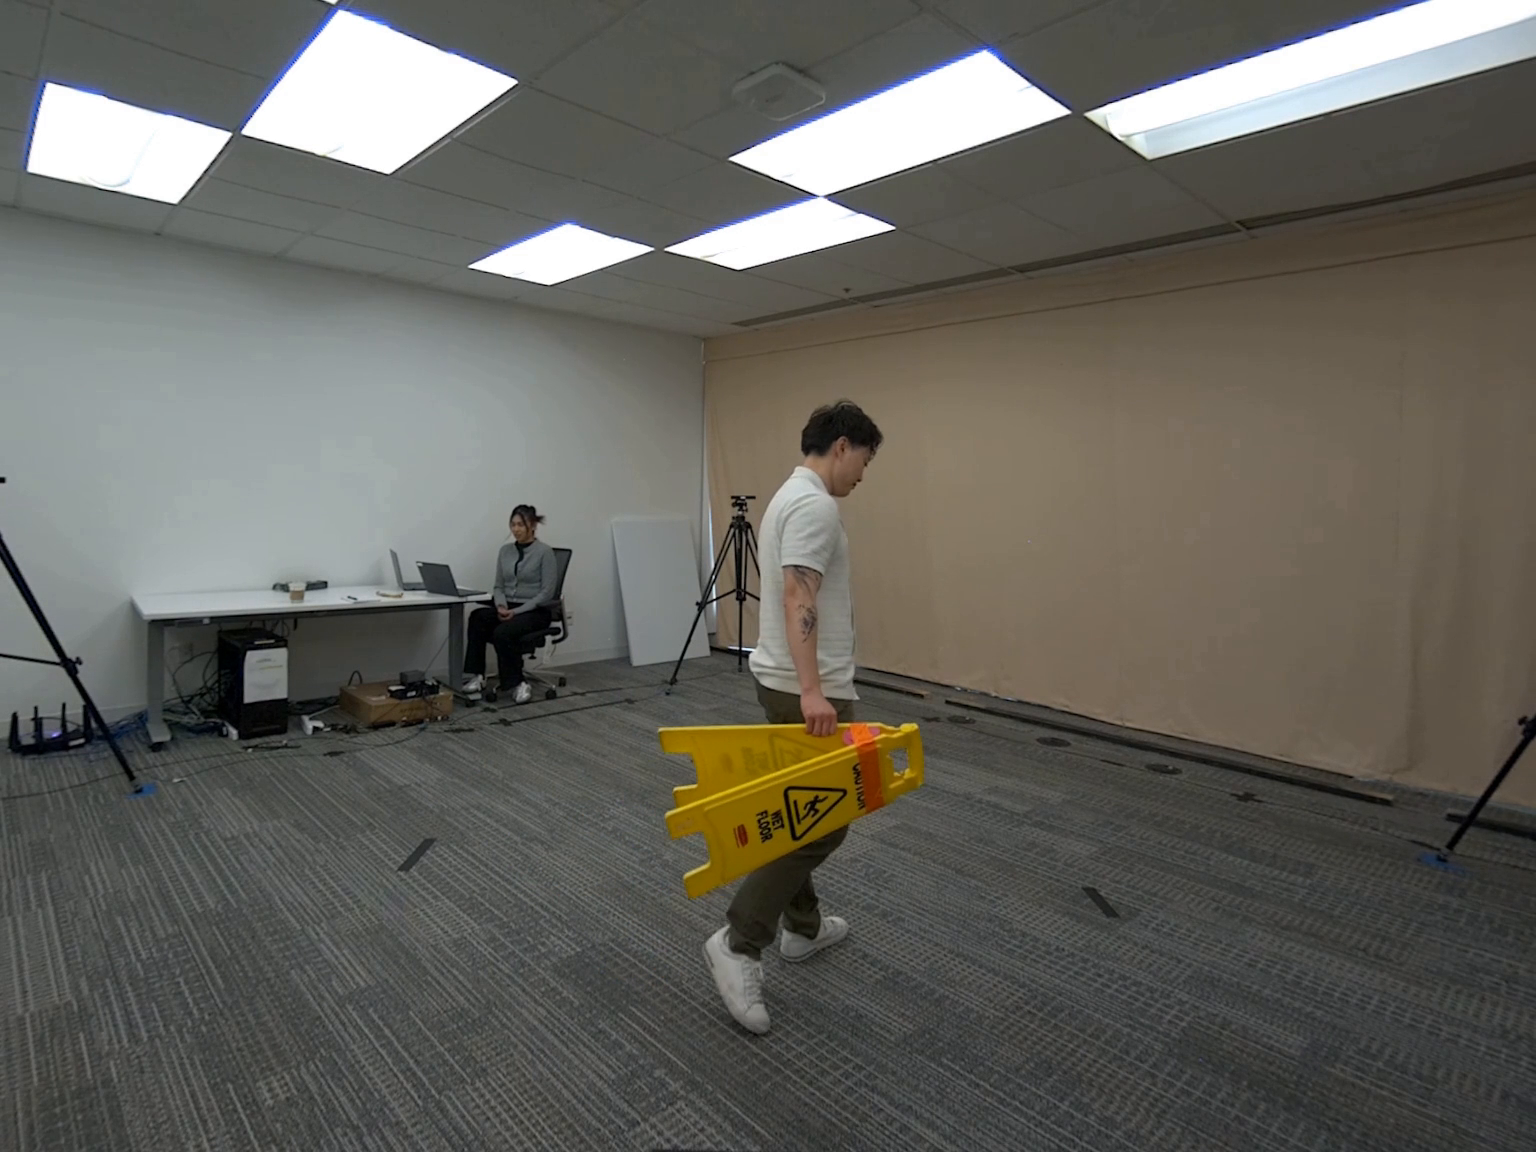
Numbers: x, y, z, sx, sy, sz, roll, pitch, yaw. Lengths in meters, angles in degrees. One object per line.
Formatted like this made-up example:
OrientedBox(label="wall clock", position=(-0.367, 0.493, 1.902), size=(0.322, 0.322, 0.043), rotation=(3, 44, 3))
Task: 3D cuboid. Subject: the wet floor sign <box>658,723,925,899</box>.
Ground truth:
OrientedBox(label="wet floor sign", position=(0.072, 0.521, 2.106), size=(0.645, 0.276, 0.297), rotation=(-13, 31, -3))
